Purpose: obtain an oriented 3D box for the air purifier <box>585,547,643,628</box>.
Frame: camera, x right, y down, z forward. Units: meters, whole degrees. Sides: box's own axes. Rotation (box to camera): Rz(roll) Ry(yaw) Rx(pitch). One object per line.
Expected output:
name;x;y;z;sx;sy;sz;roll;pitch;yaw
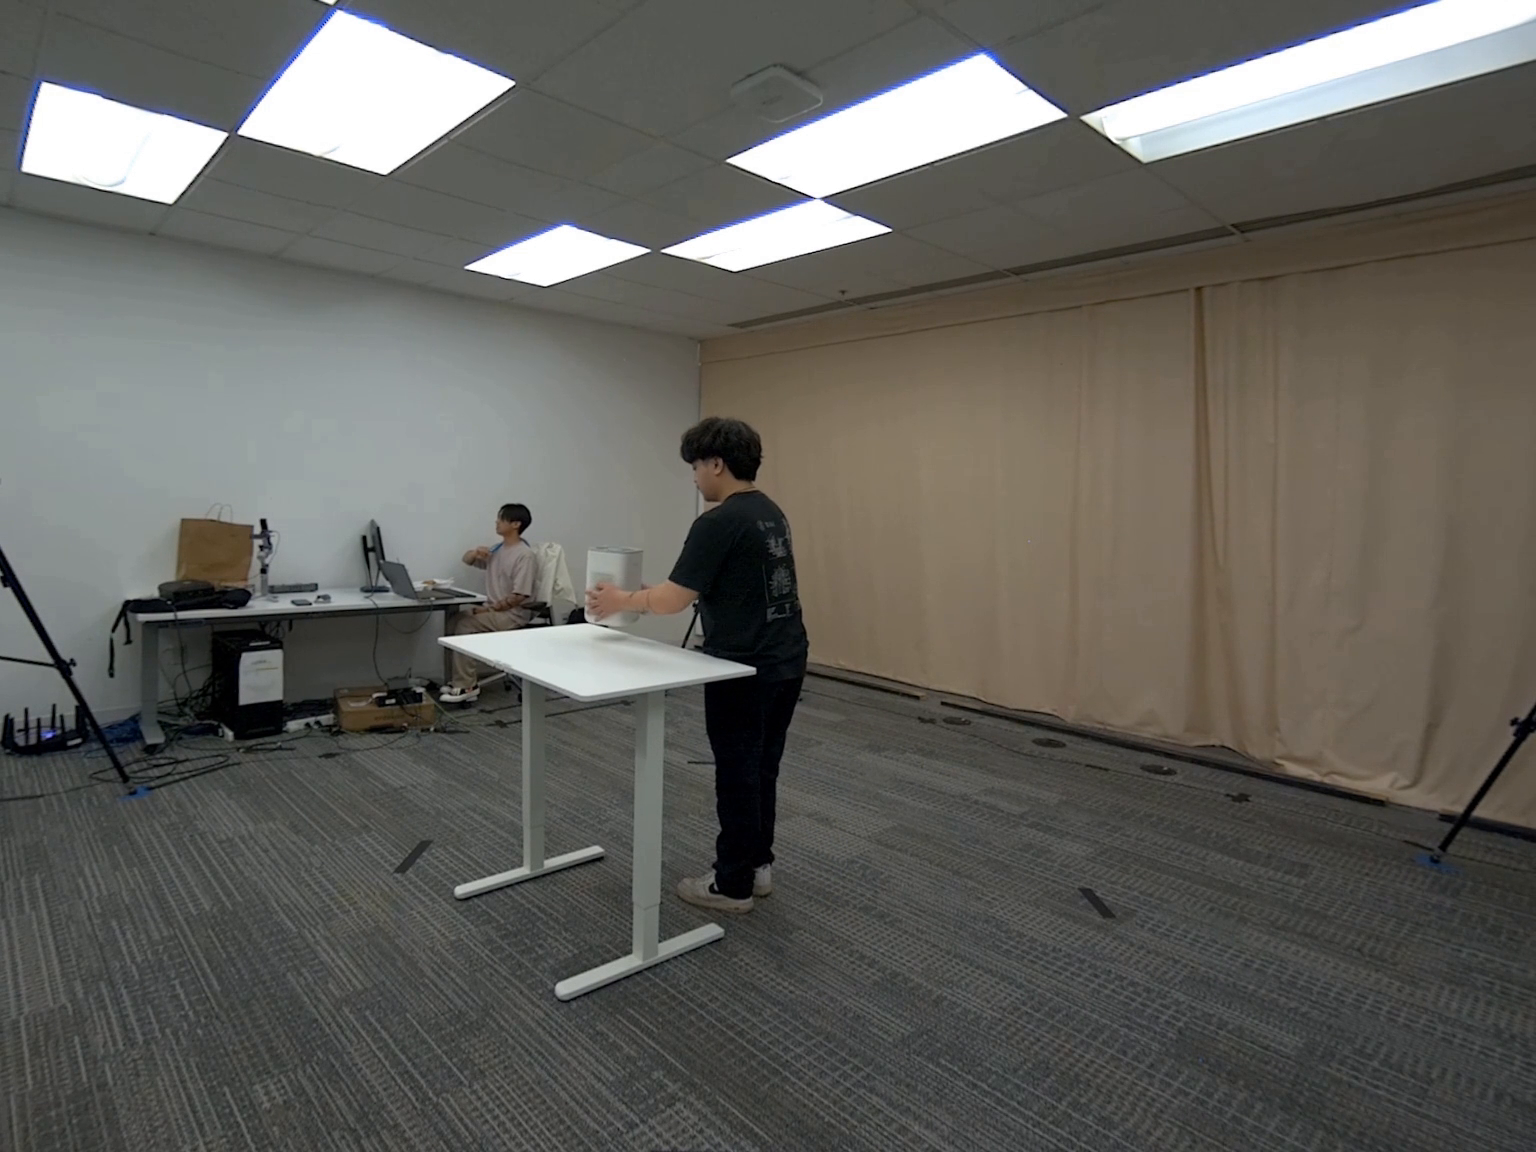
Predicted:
air purifier;-0.544;0.040;2.973;0.174;0.264;0.169;7;7;20
